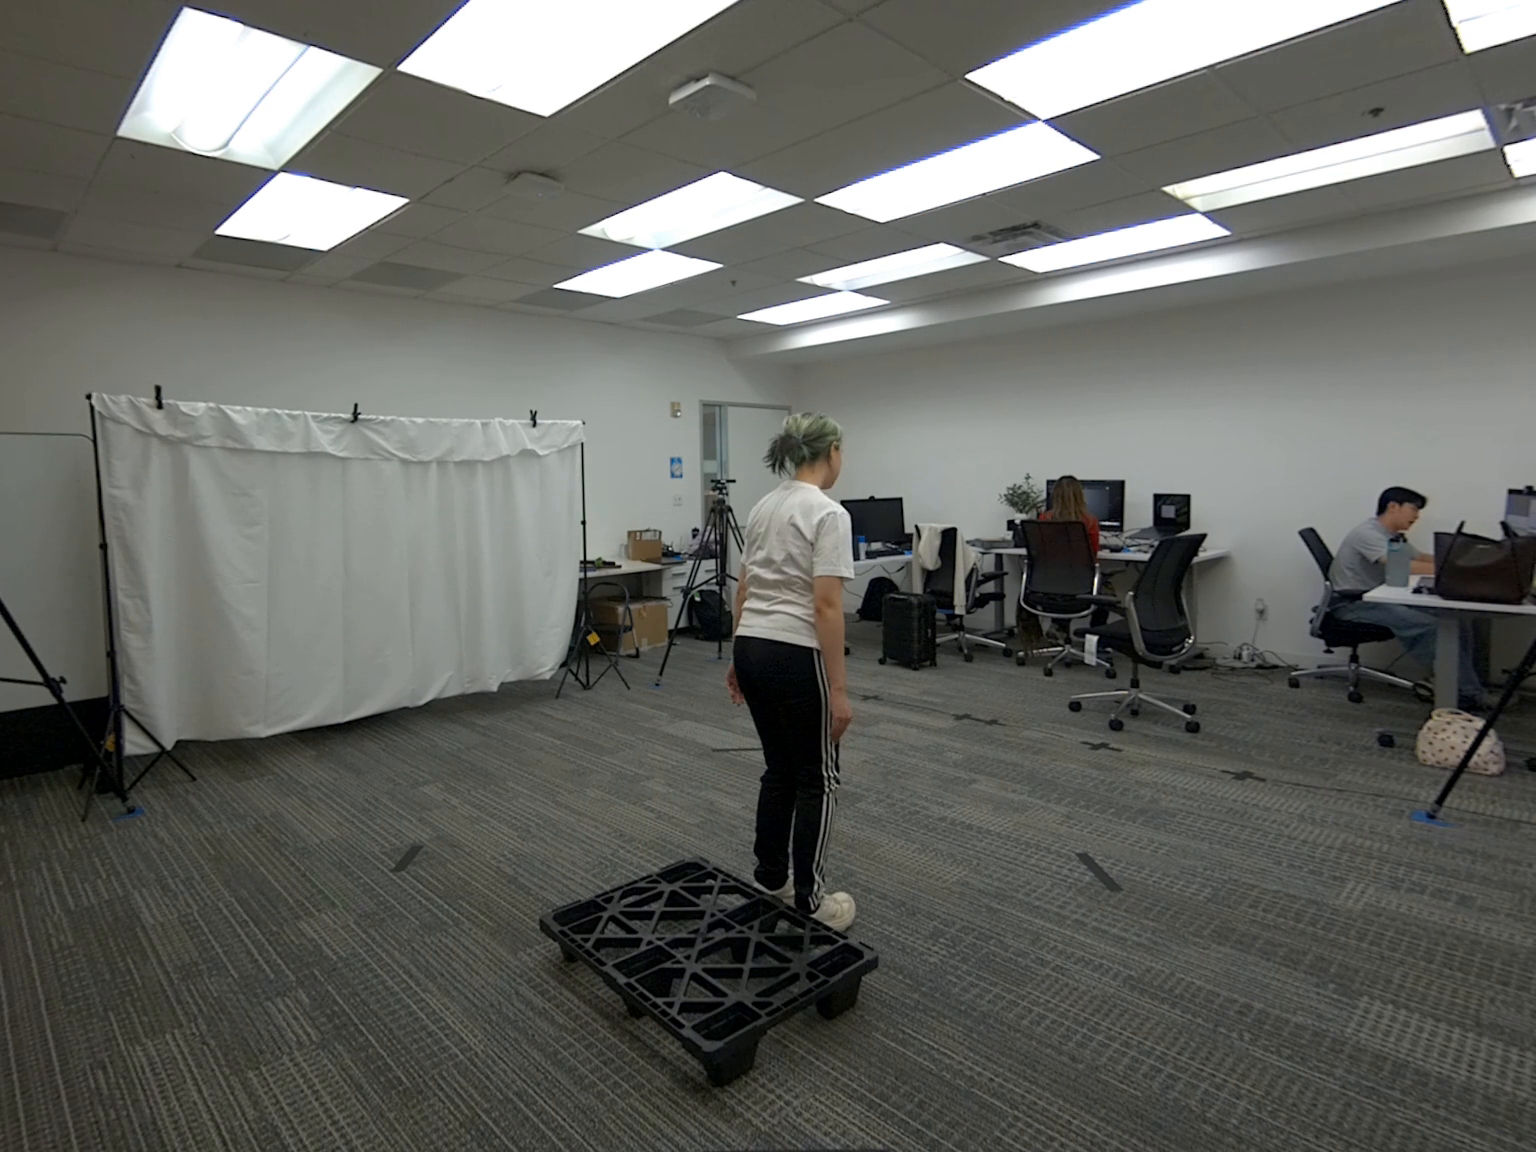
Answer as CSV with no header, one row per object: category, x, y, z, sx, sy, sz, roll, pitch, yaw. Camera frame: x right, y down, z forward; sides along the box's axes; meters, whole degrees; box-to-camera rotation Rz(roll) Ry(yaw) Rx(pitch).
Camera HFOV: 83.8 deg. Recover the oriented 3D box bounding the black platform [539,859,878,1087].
black platform,-0.182,1.066,2.399,0.589,0.142,0.831,-6,8,-41
